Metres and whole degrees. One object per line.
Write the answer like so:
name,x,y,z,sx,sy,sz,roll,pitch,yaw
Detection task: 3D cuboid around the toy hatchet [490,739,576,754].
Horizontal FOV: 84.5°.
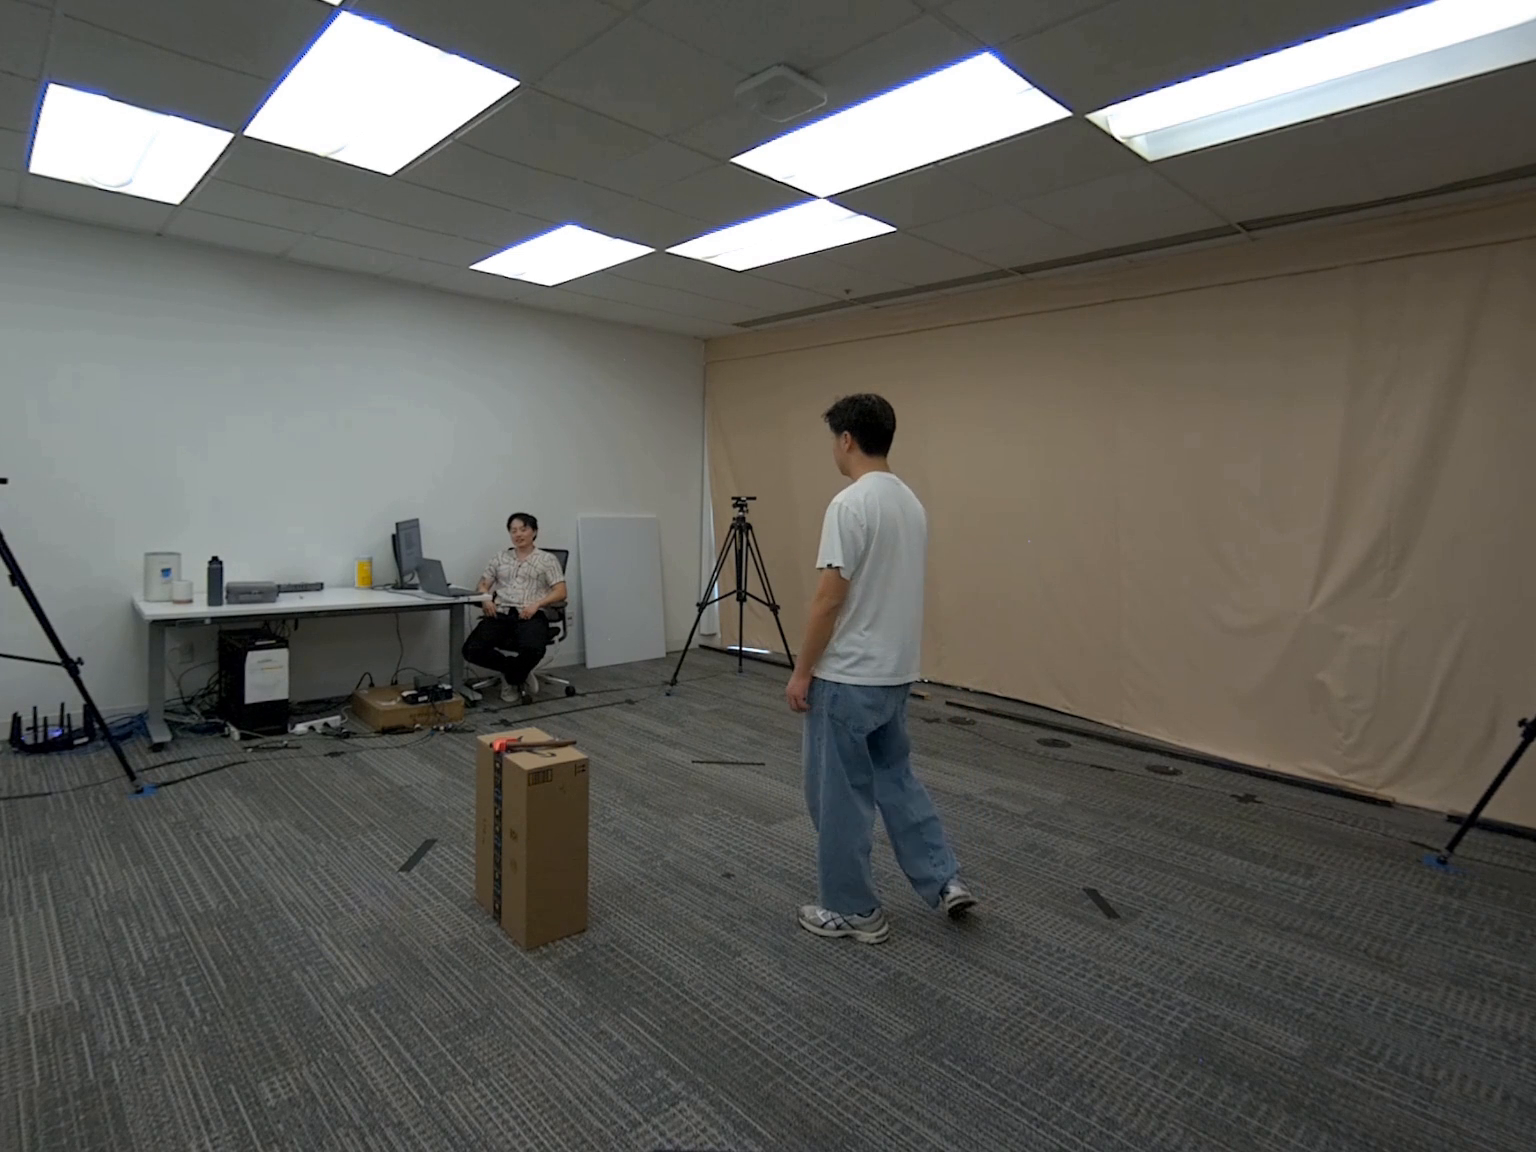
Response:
toy hatchet,-0.775,0.543,2.766,0.265,0.029,0.134,0,2,-28
